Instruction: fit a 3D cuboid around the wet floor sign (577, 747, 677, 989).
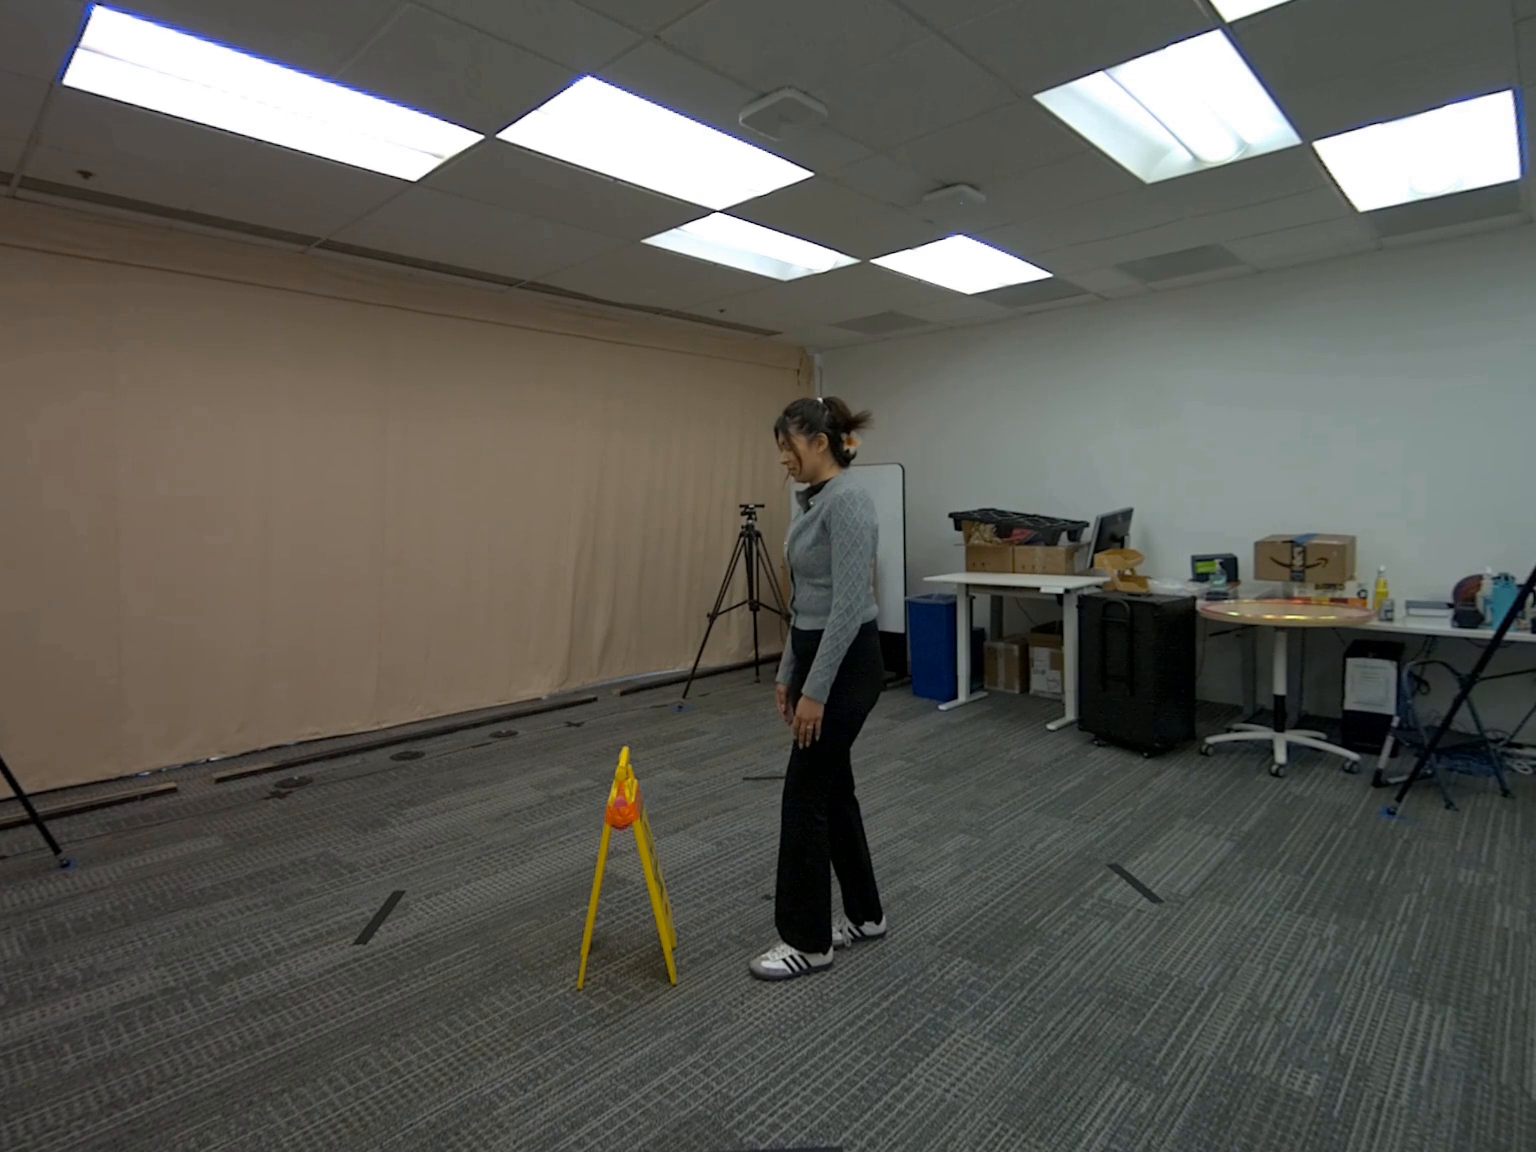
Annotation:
[{"bbox_3d":[-0.432,0.860,2.568,0.288,0.646,0.283,-3,0,-5],"label":"wet floor sign"}]
